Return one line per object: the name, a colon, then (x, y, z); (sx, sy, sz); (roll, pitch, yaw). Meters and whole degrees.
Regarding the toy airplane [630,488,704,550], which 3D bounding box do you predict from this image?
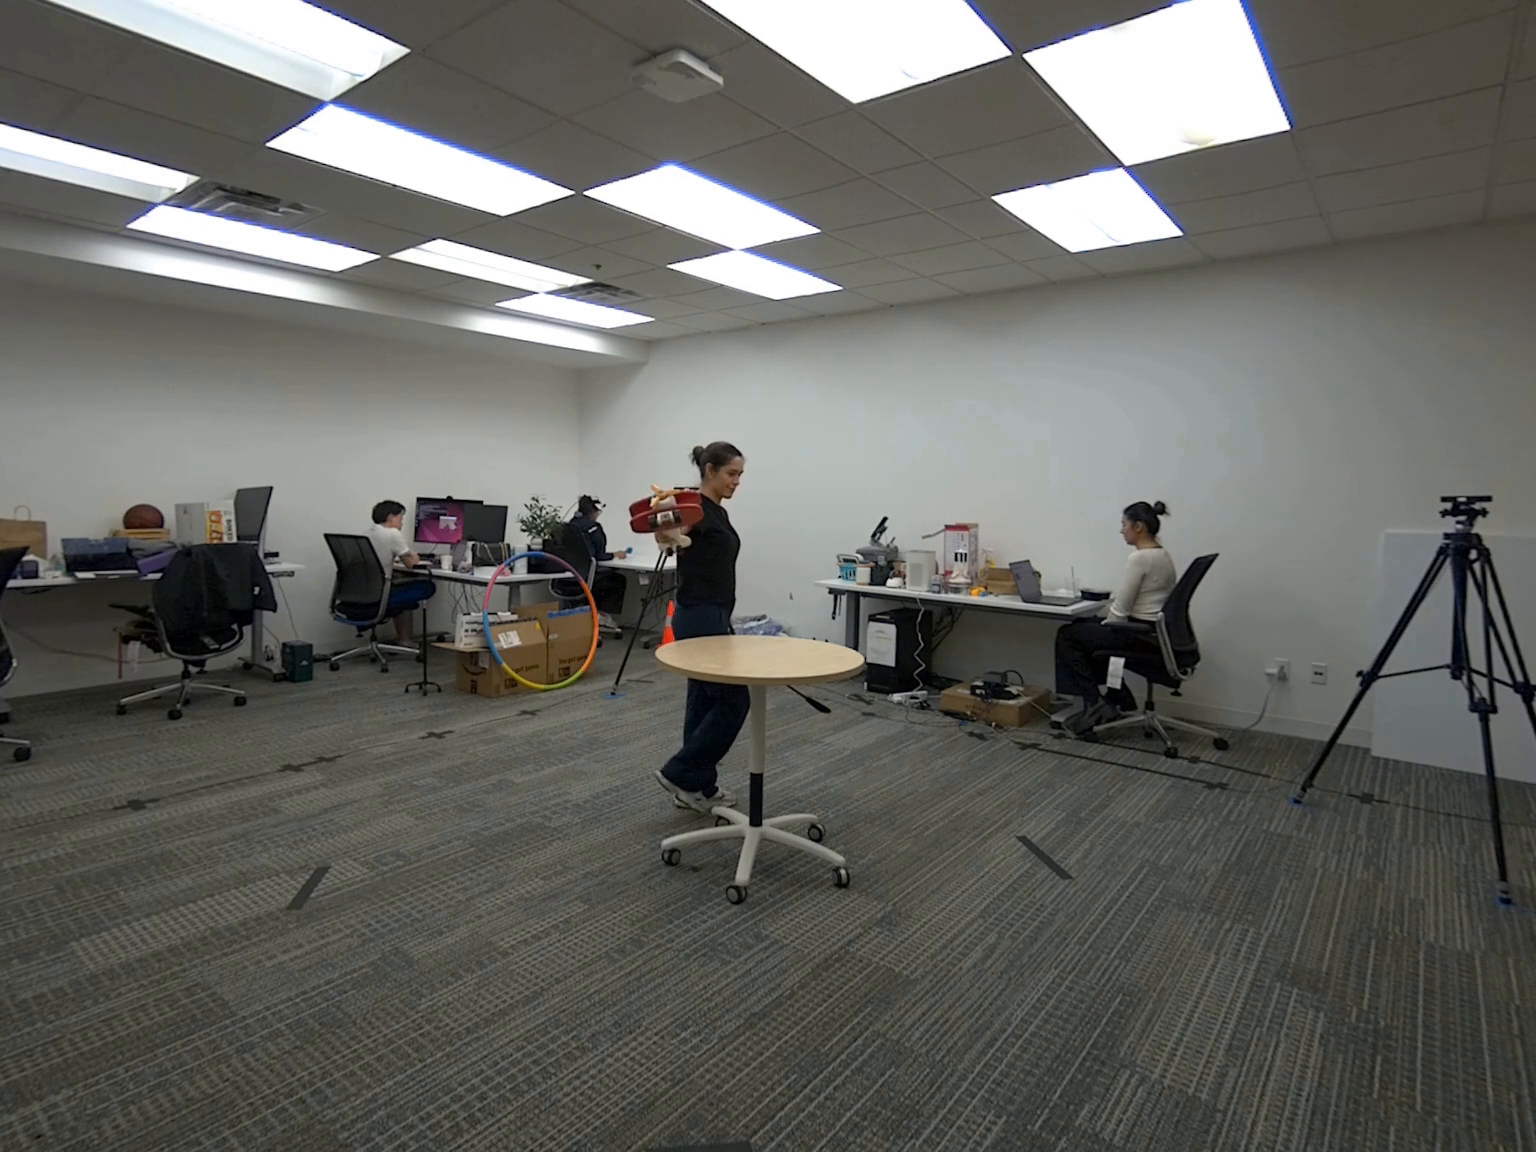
toy airplane: (-0.357, -0.188, 3.009); (0.245, 0.161, 0.257); (5, -36, -24)
